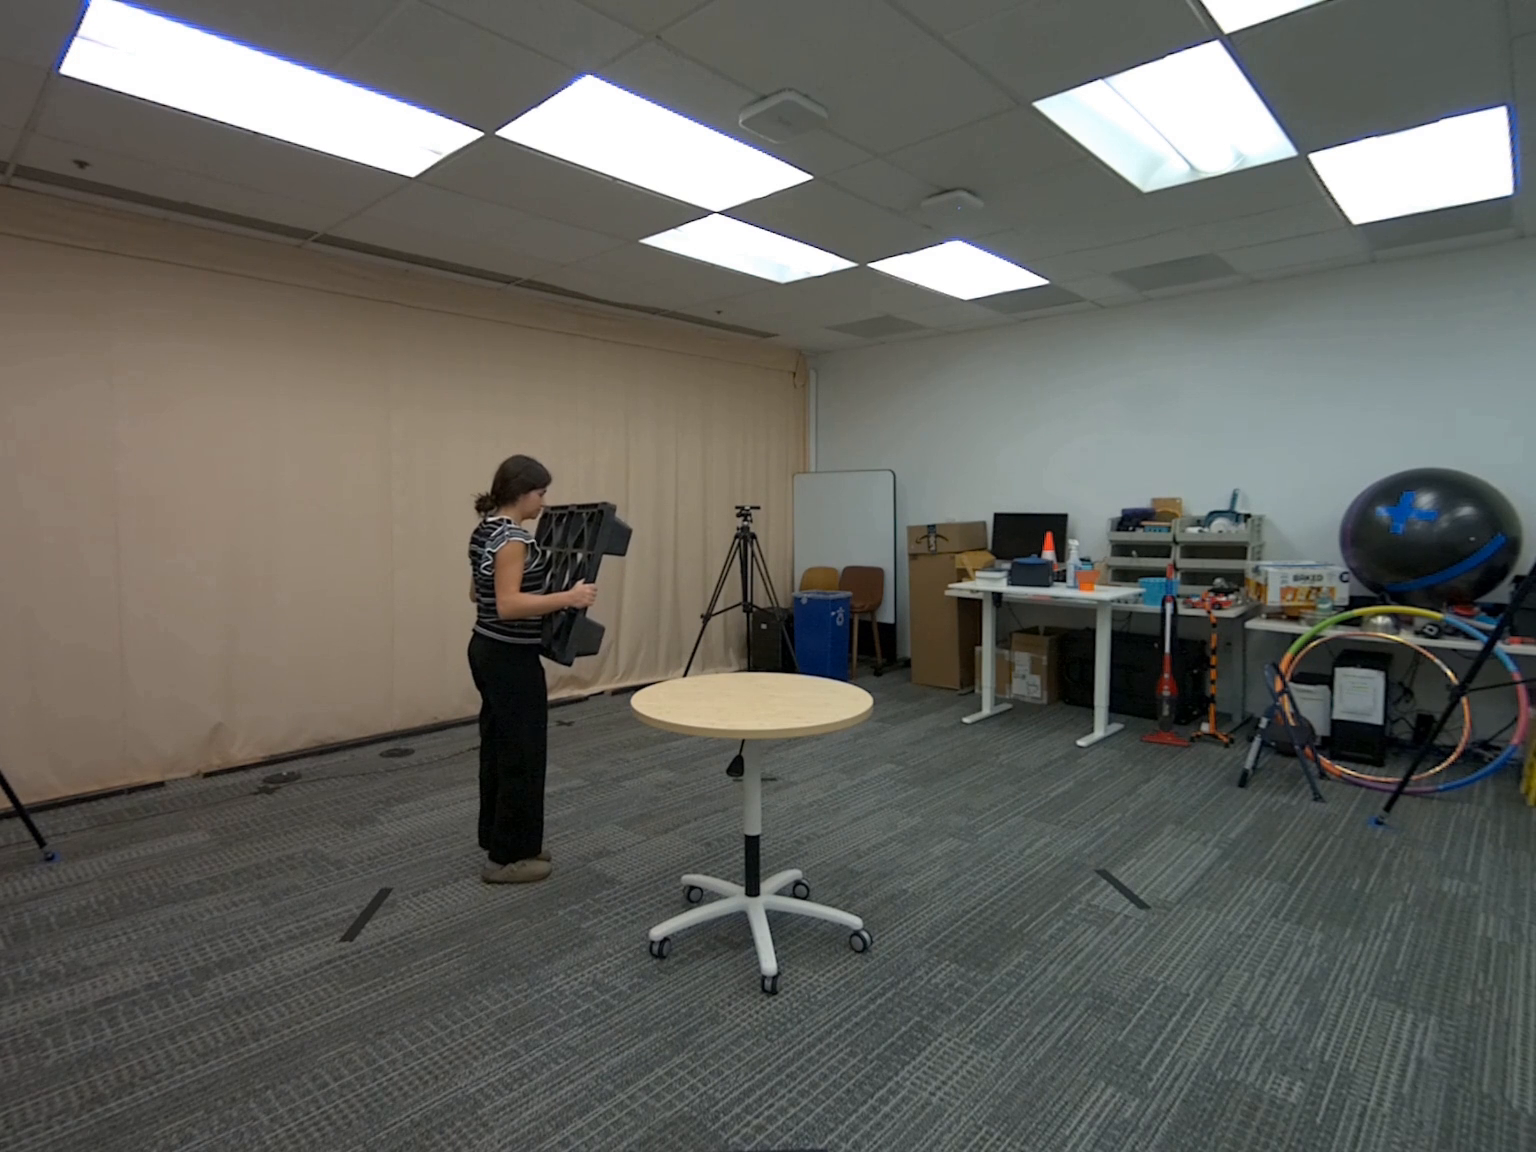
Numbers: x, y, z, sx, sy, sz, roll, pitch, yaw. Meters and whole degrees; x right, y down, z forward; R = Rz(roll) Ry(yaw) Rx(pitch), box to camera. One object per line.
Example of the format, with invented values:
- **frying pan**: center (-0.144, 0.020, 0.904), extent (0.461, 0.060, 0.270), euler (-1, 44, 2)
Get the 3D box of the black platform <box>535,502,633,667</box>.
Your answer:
- **black platform**: center (-0.789, 0.019, 3.340), extent (0.139, 0.606, 0.828), euler (18, -7, -29)
